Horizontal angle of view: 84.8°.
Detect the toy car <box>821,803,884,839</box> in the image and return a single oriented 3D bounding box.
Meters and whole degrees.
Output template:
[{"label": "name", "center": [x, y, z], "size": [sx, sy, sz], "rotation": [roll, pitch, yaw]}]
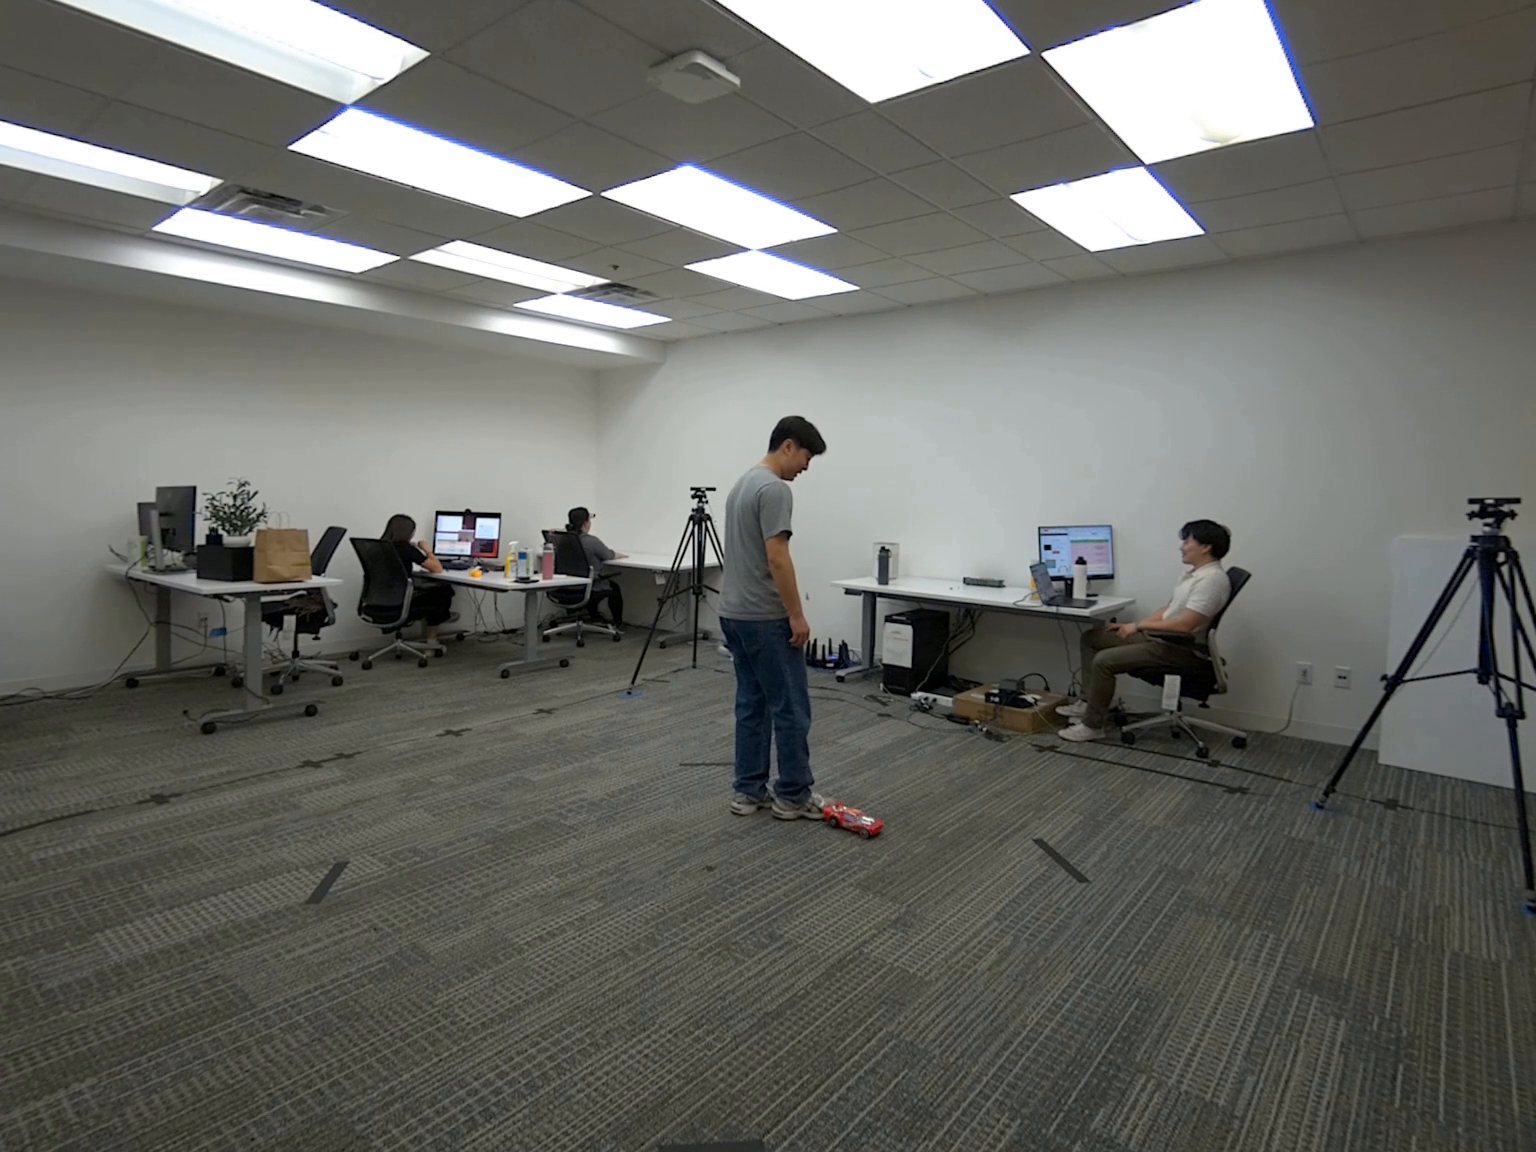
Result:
[{"label": "toy car", "center": [0.338, 1.006, 3.507], "size": [0.264, 0.082, 0.126], "rotation": [20, 15, 36]}]
